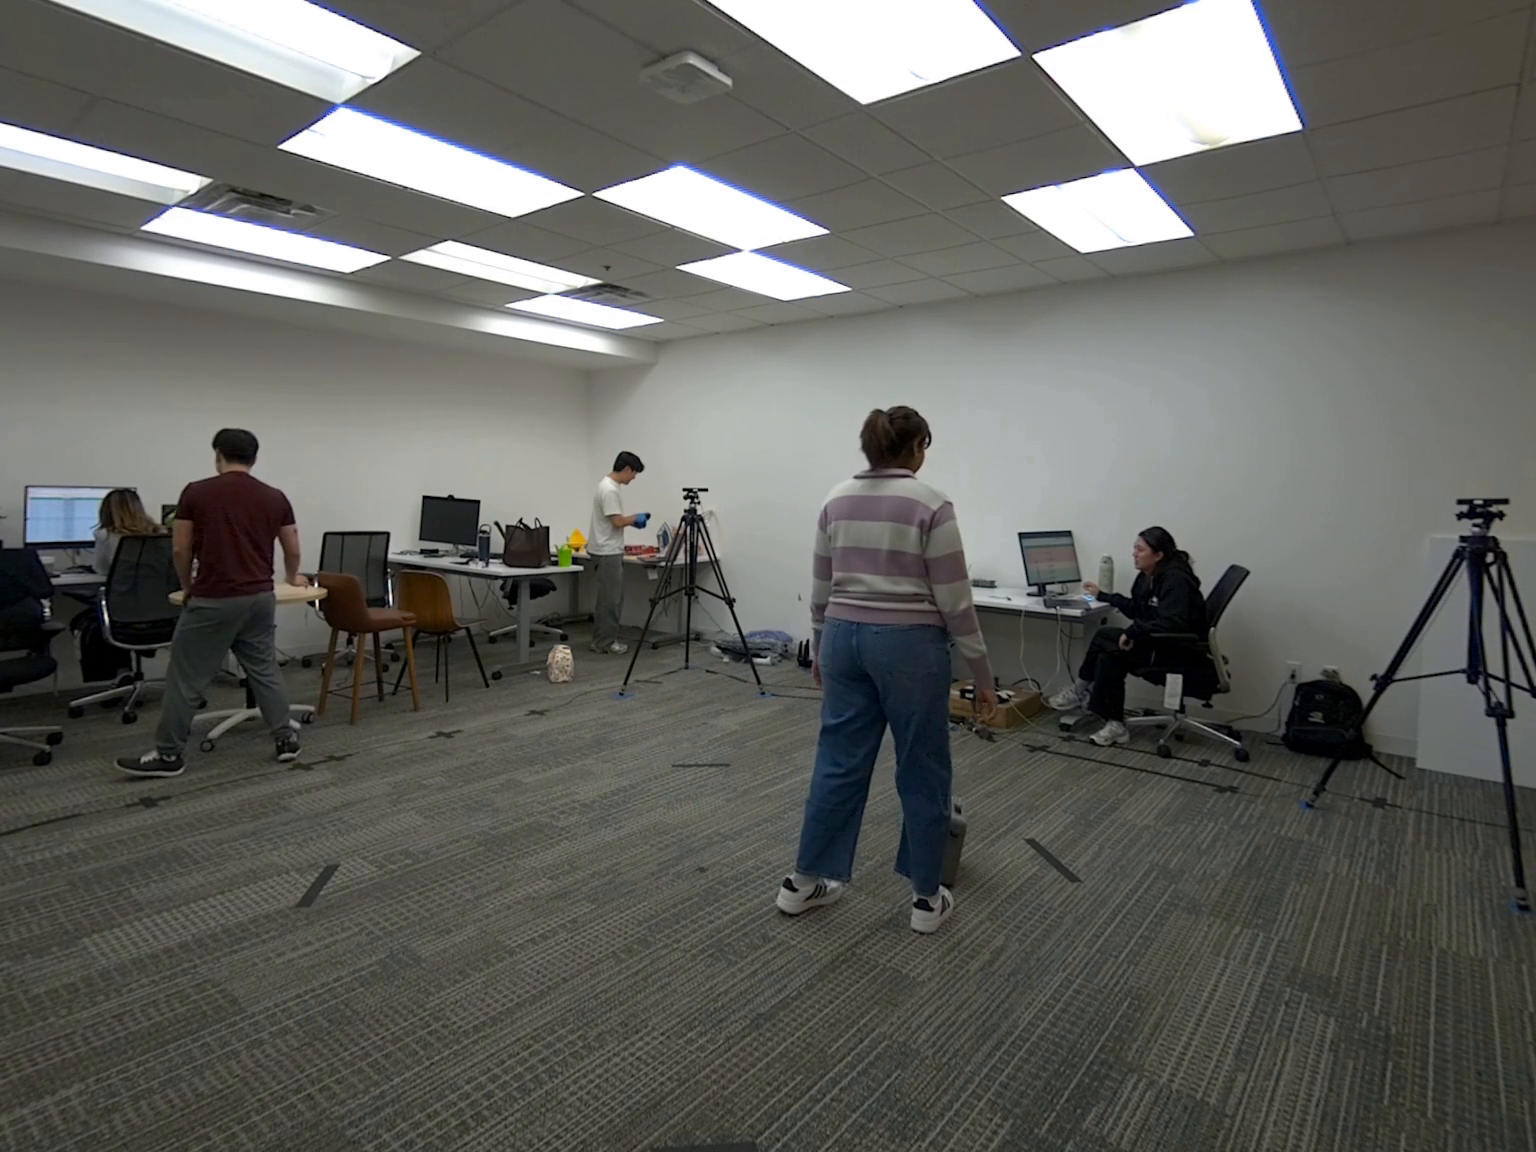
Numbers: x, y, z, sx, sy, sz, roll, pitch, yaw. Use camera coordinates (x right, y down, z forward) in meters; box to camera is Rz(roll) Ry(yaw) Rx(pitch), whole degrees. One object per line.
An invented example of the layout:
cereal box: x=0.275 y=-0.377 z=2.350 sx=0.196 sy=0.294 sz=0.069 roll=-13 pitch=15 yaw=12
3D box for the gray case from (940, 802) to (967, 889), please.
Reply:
gray case: x=0.649 y=0.950 z=3.128 sx=0.106 sy=0.259 sz=0.254 roll=9 pitch=8 yaw=12
